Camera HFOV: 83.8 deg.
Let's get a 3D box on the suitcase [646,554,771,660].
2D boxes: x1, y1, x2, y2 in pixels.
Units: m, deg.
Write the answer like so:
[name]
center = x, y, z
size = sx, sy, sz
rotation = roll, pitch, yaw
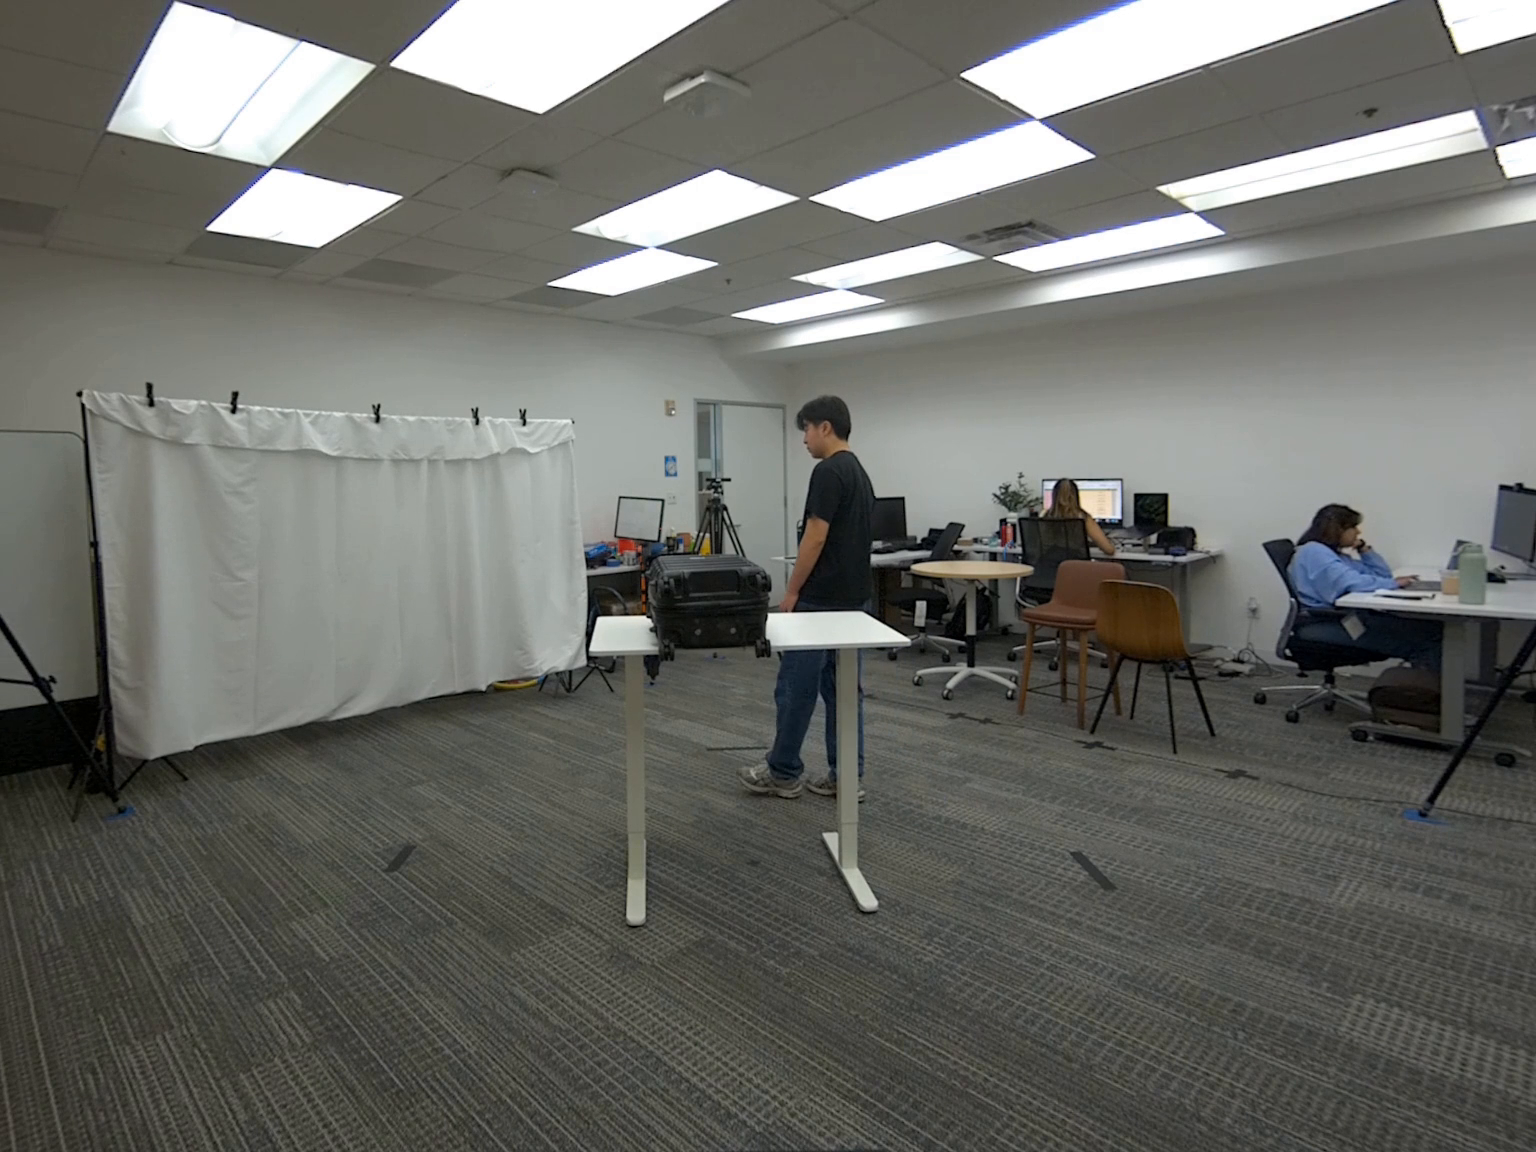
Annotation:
[suitcase]
center = -0.244, 0.050, 2.998
size = 0.381, 0.255, 0.994
rotation = -3, 9, -10
